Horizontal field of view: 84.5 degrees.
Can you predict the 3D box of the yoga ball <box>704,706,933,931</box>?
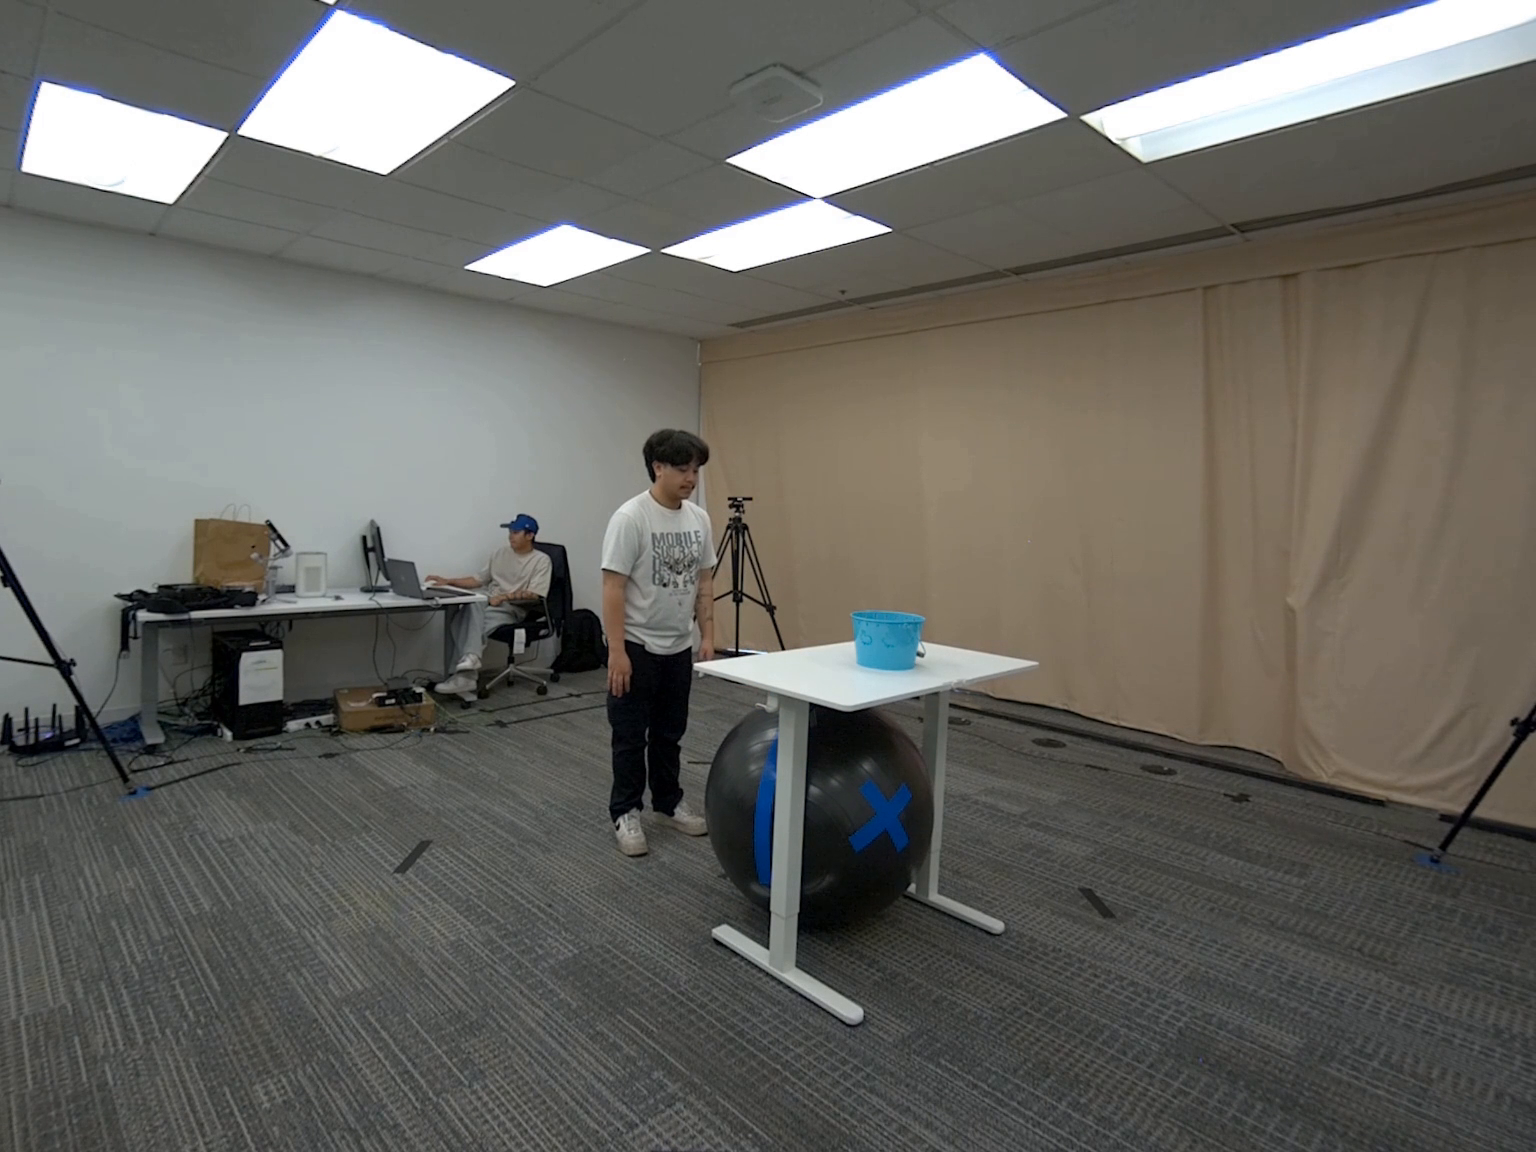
[{"bbox_3d":[0.168,0.775,2.829,0.757,0.756,0.761,1,4,-1],"label":"yoga ball"}]
